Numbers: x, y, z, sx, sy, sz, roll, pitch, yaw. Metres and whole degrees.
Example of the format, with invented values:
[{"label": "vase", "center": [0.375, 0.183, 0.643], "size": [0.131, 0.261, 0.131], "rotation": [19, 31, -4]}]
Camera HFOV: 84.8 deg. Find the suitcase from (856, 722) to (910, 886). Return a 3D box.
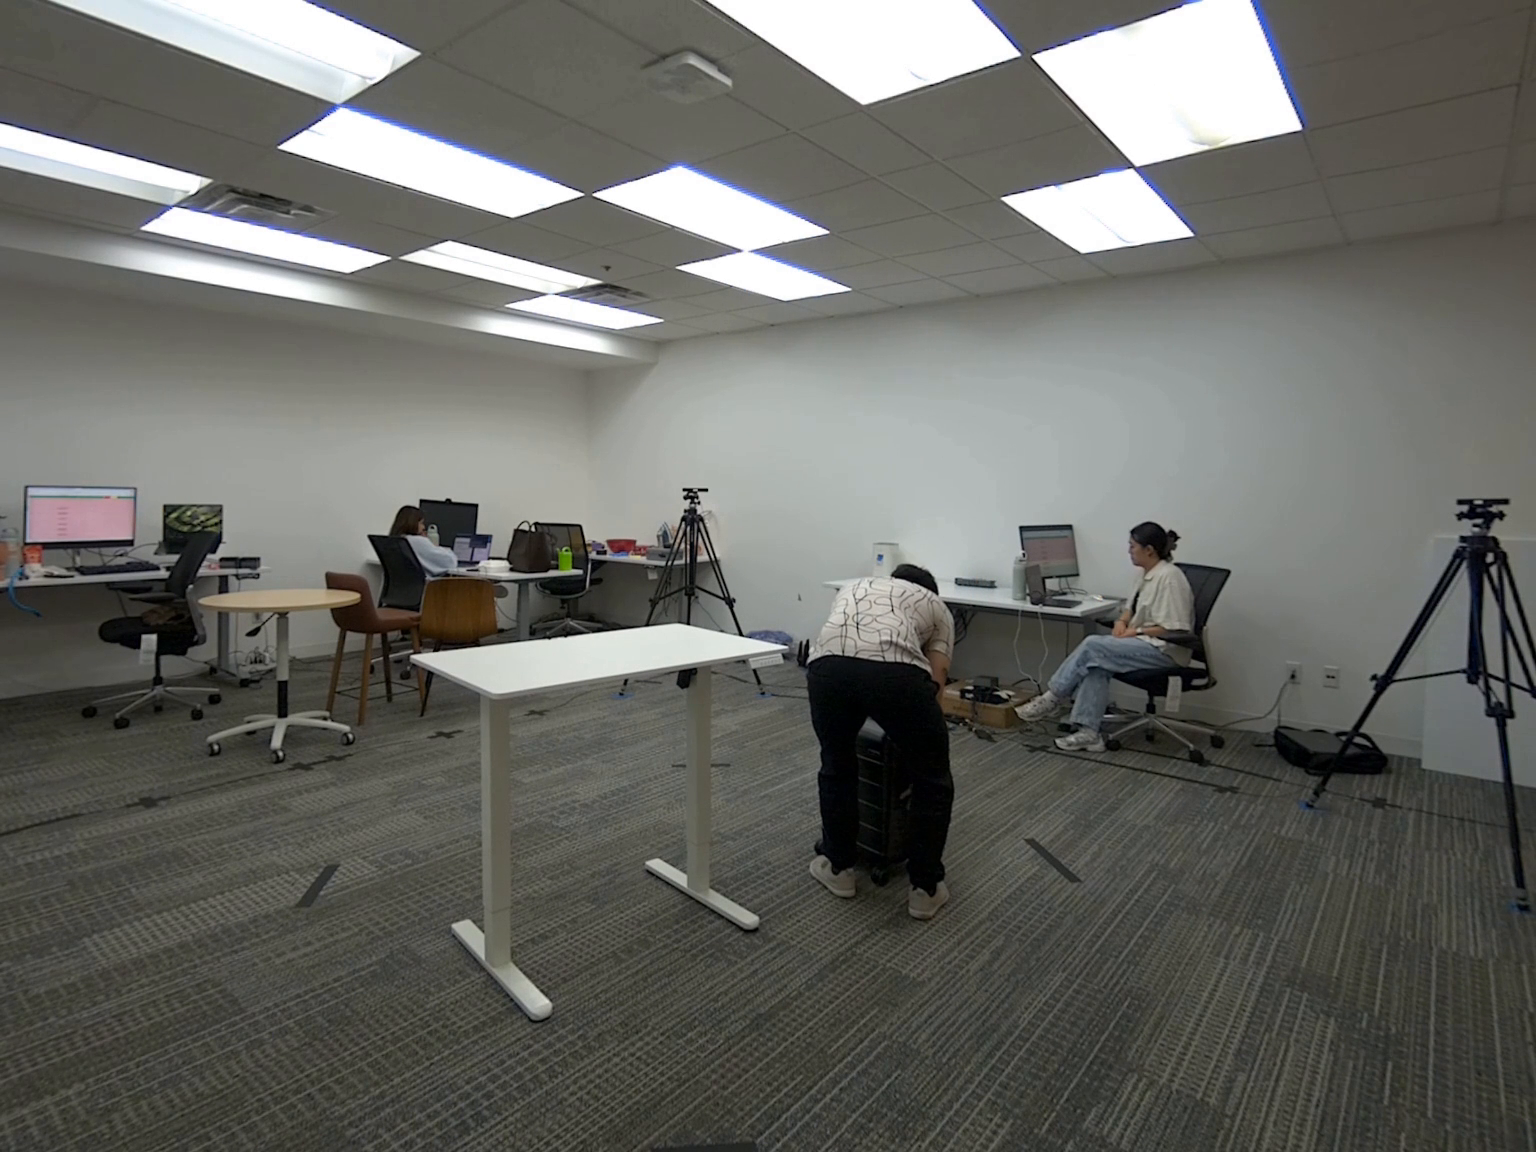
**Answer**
[{"label": "suitcase", "center": [0.400, 0.797, 3.210], "size": [0.241, 0.548, 0.388], "rotation": [-2, 5, -41]}]
